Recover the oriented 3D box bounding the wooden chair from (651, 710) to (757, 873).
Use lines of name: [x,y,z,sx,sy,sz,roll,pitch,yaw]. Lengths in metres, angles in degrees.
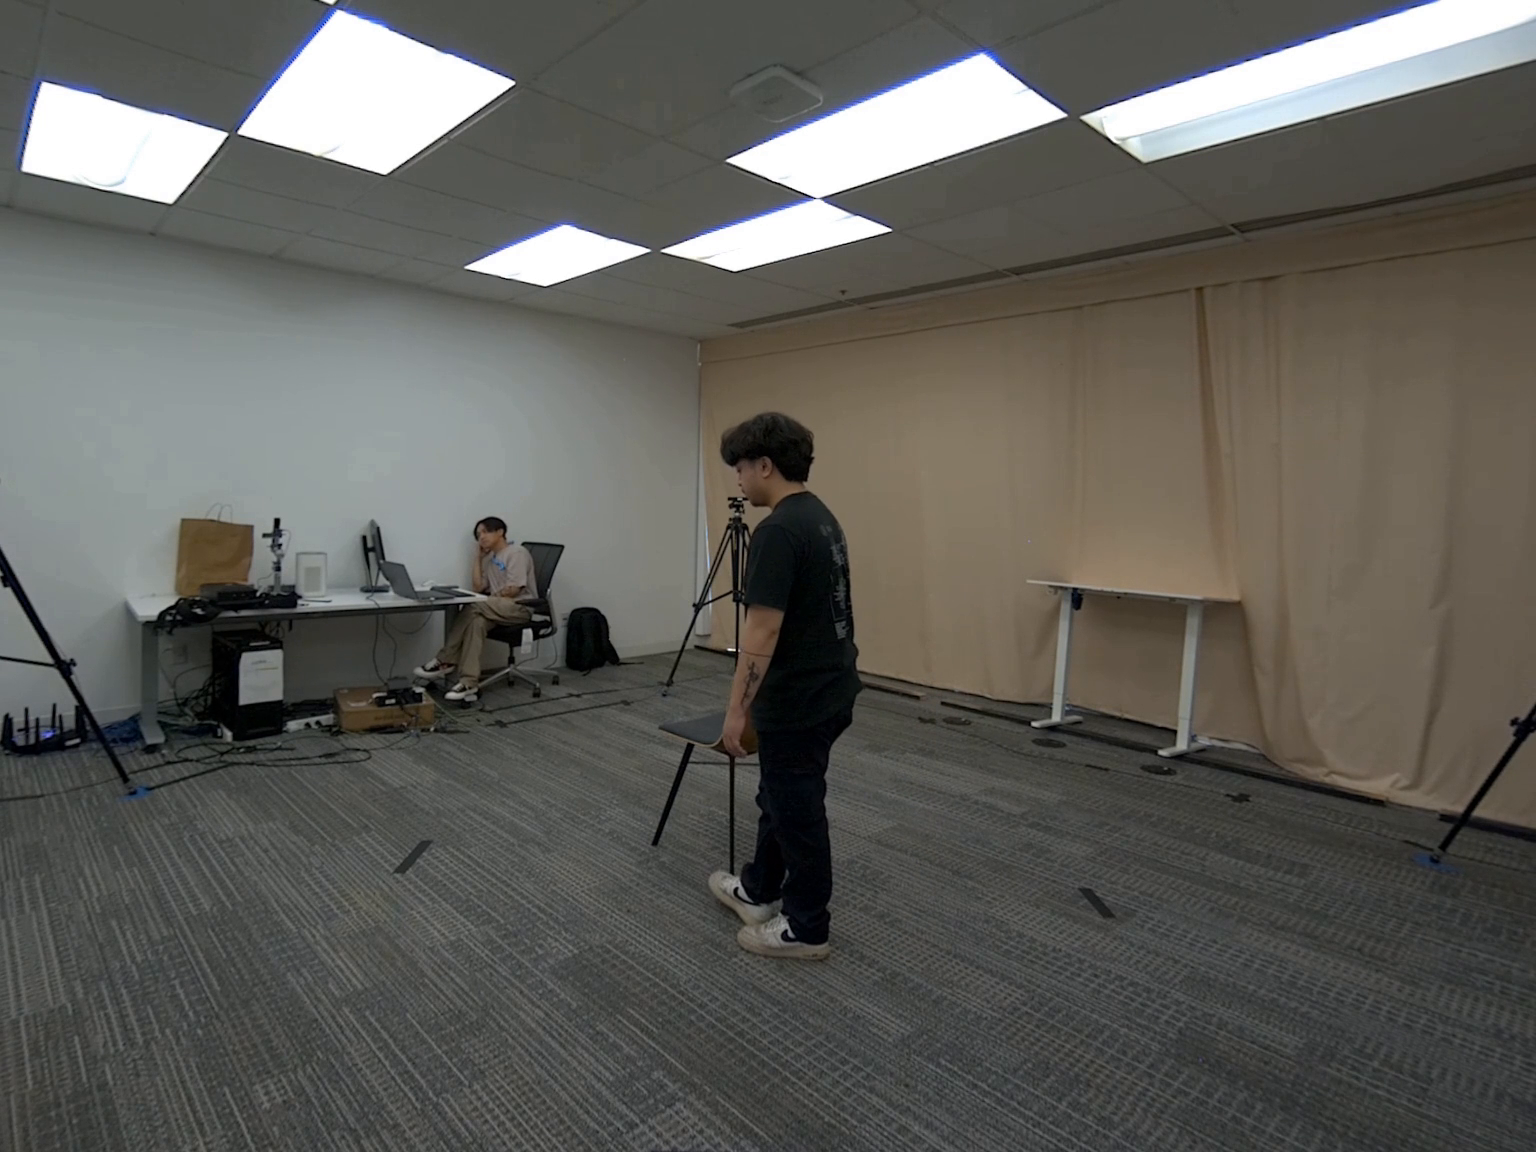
wooden chair: [-0.145,0.662,3.335,0.537,0.874,0.467,11,9,43]
